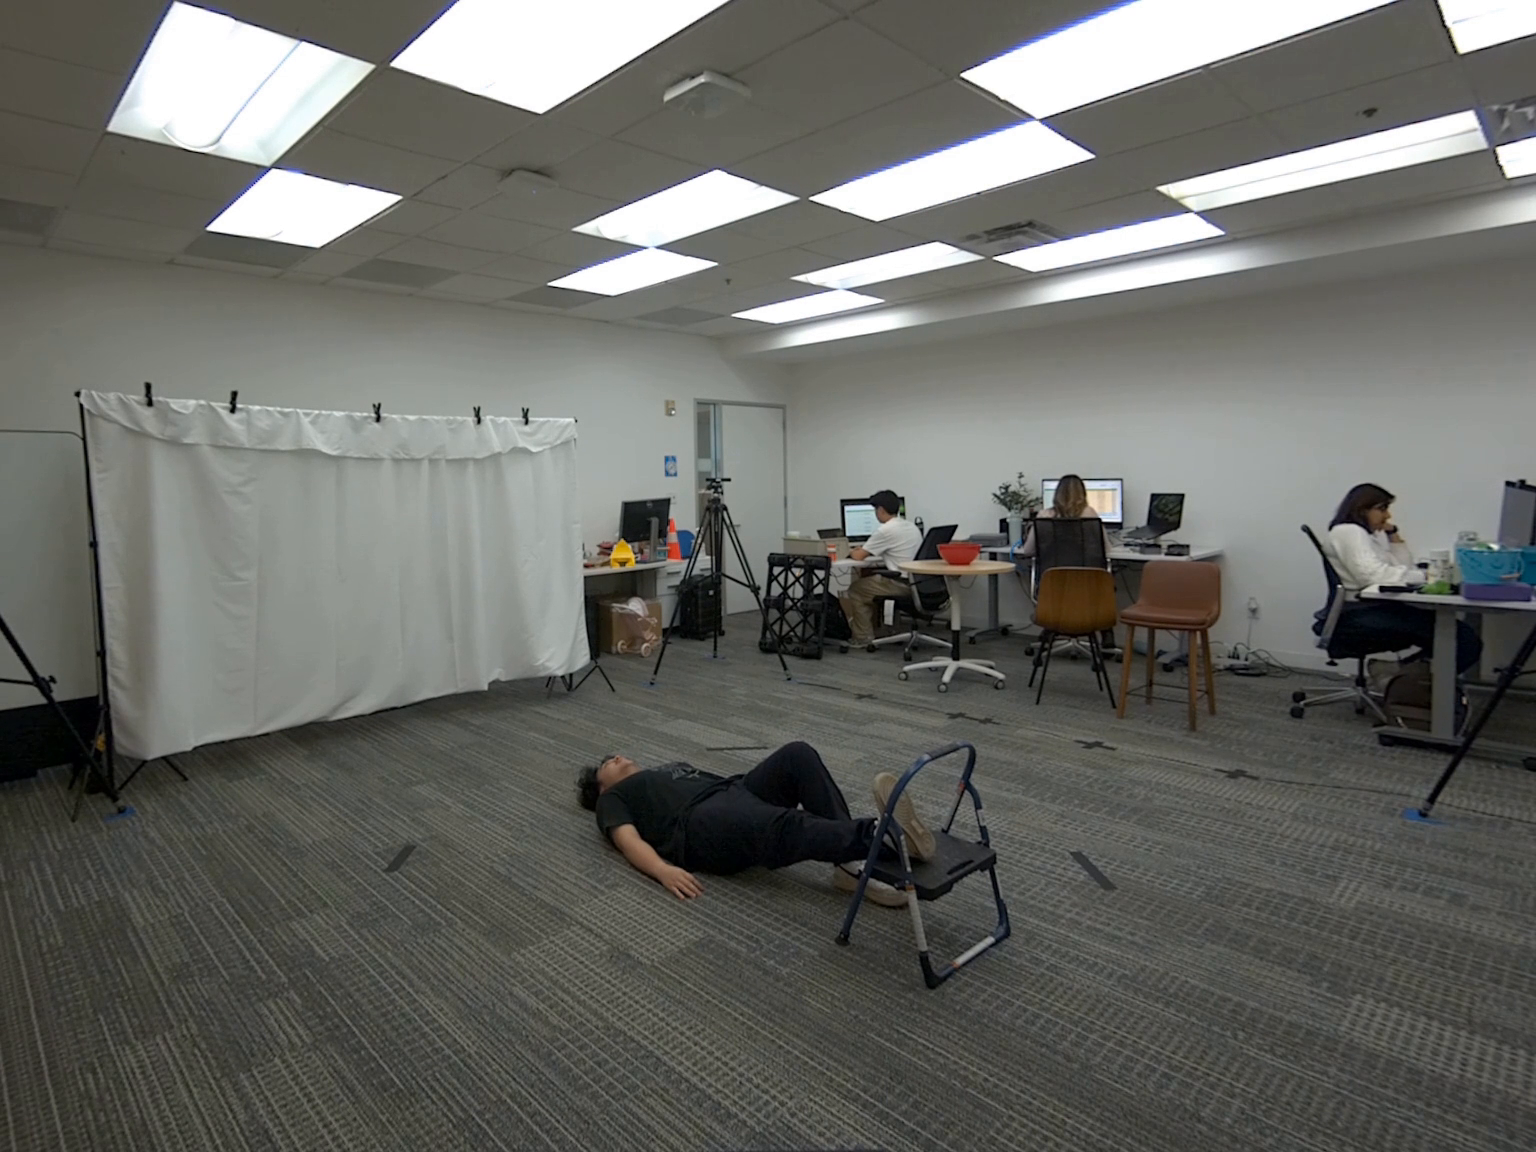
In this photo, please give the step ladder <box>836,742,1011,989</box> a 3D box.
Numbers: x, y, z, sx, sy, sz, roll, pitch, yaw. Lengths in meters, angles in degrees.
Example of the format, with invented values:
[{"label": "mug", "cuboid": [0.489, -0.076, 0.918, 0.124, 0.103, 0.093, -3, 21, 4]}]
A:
[{"label": "step ladder", "cuboid": [0.475, 0.798, 2.556, 0.419, 0.603, 0.360, -6, 7, -44]}]
